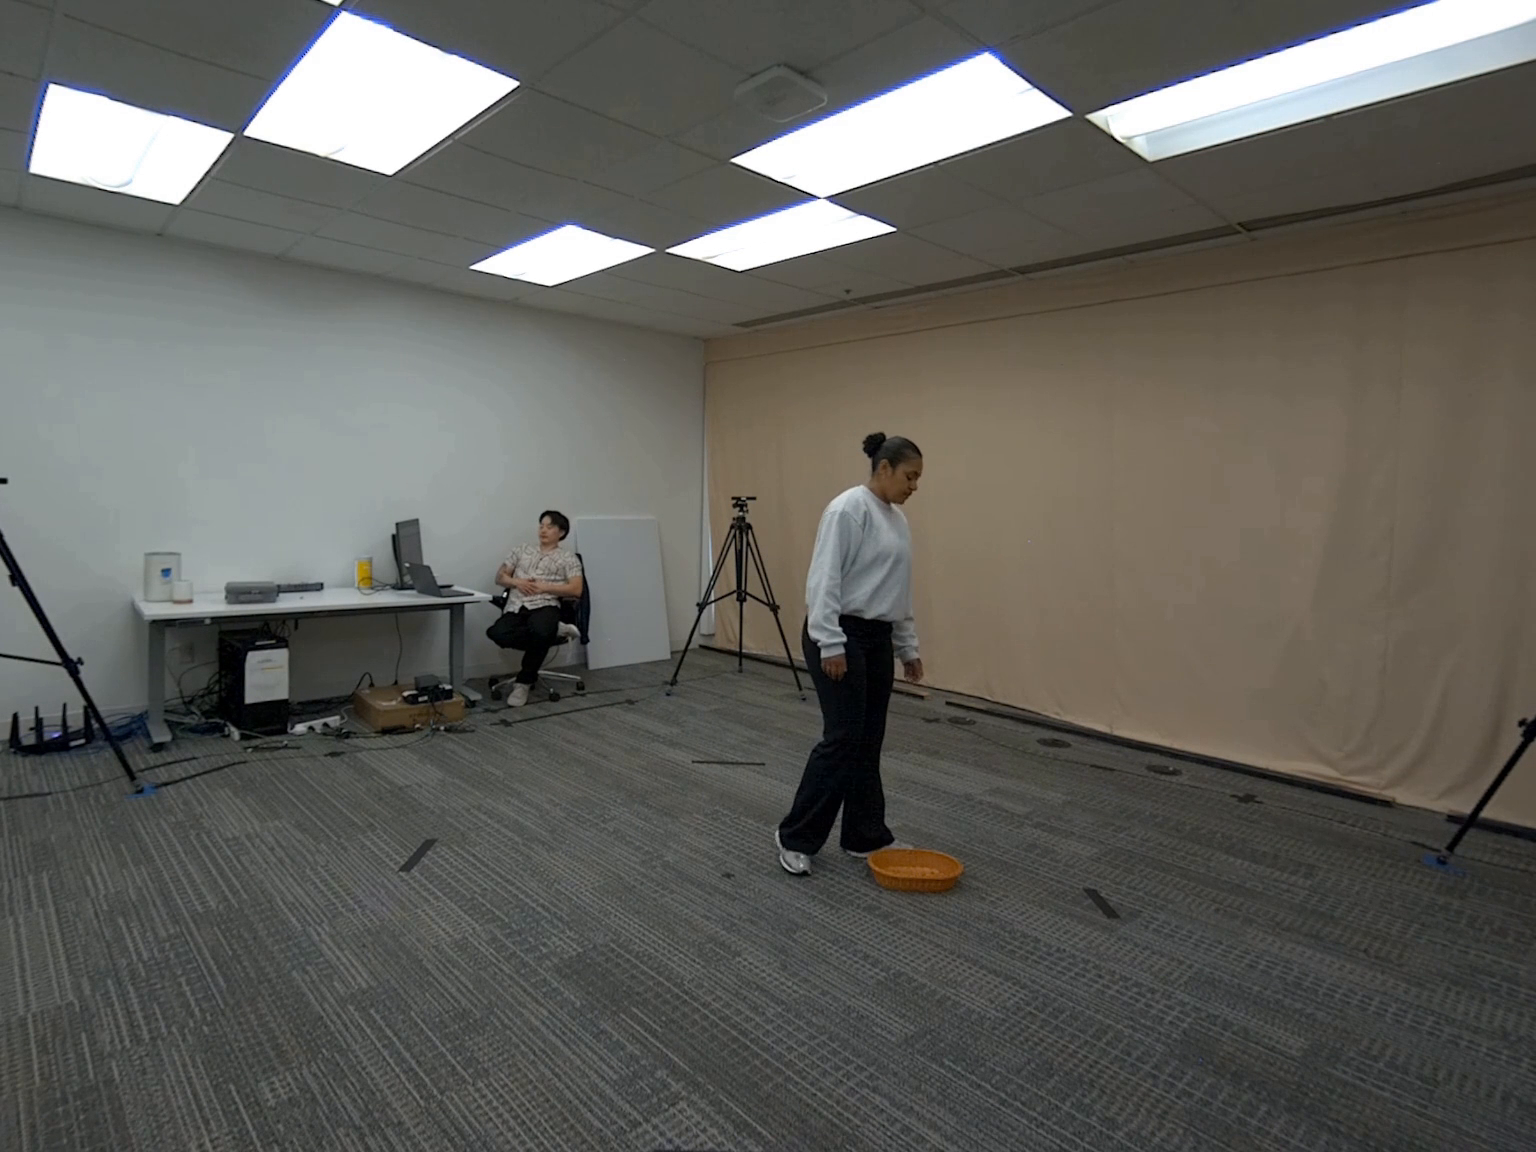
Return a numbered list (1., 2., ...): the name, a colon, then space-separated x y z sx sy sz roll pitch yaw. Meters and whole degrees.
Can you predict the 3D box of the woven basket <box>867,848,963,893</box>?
1. woven basket: 0.529 1.082 3.103 0.351 0.073 0.253 2 5 0
